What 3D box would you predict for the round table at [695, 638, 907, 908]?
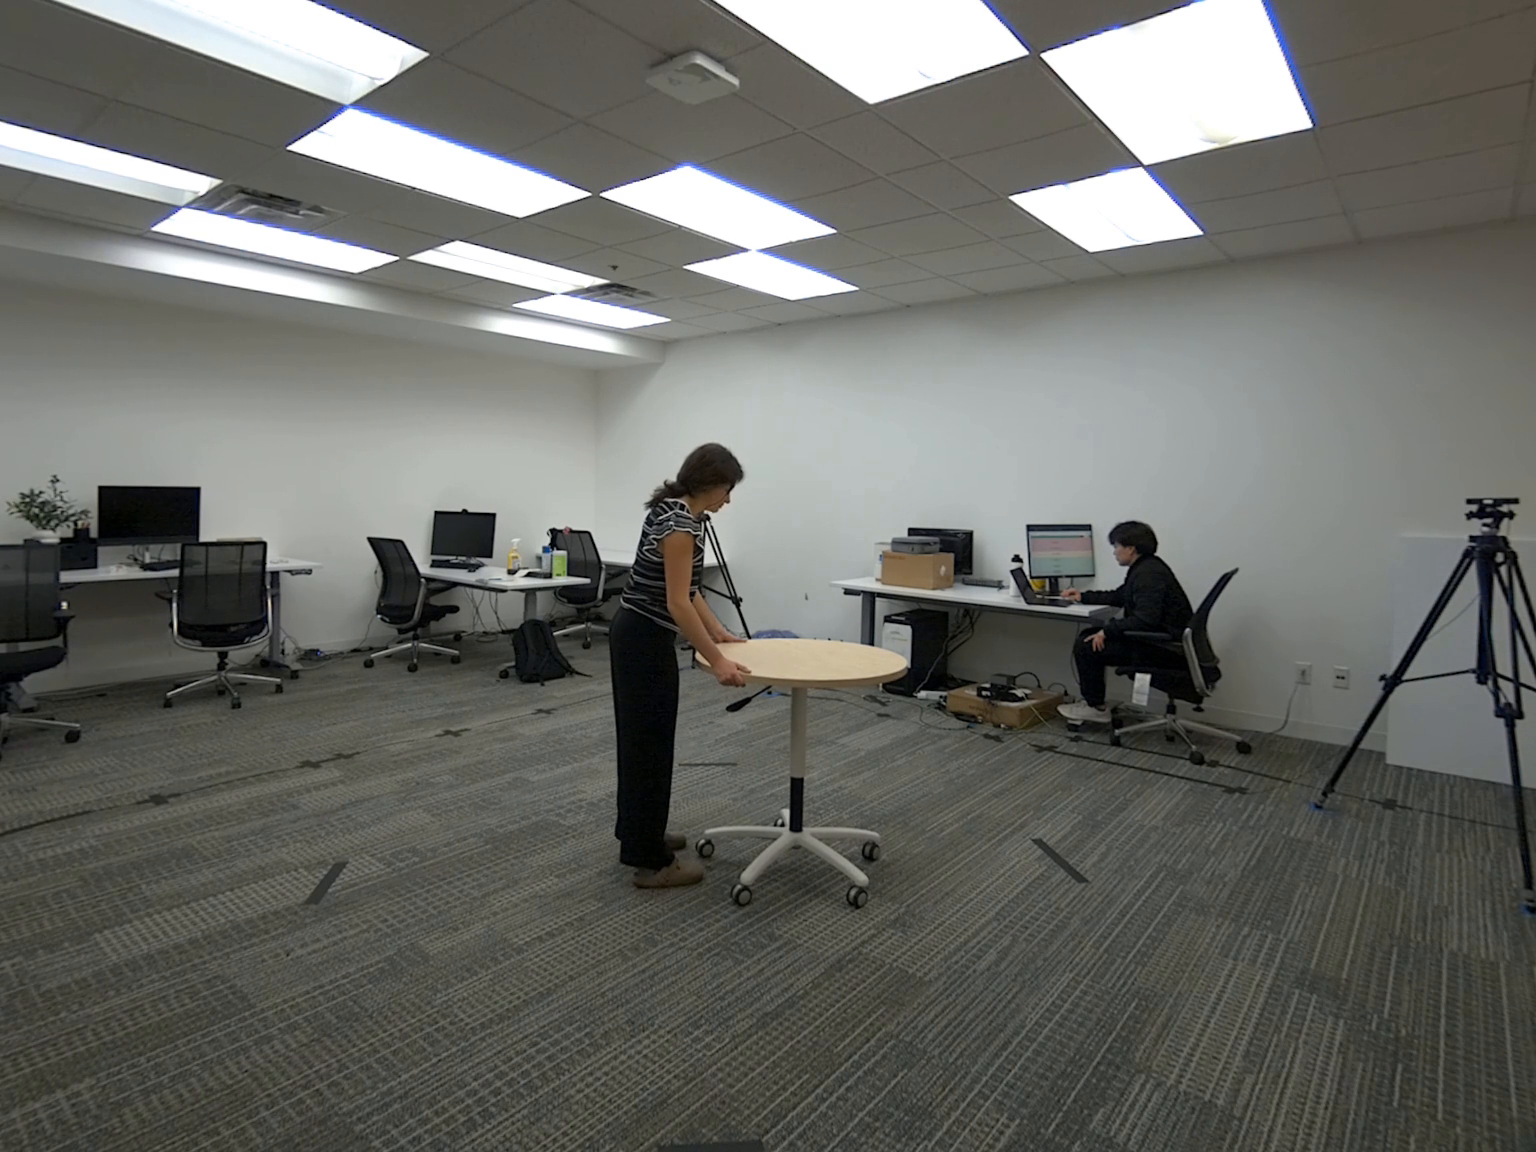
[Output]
[{"bbox_3d":[0.105,0.688,3.109,0.763,0.791,0.768,1,4,-2],"label":"round table"}]
